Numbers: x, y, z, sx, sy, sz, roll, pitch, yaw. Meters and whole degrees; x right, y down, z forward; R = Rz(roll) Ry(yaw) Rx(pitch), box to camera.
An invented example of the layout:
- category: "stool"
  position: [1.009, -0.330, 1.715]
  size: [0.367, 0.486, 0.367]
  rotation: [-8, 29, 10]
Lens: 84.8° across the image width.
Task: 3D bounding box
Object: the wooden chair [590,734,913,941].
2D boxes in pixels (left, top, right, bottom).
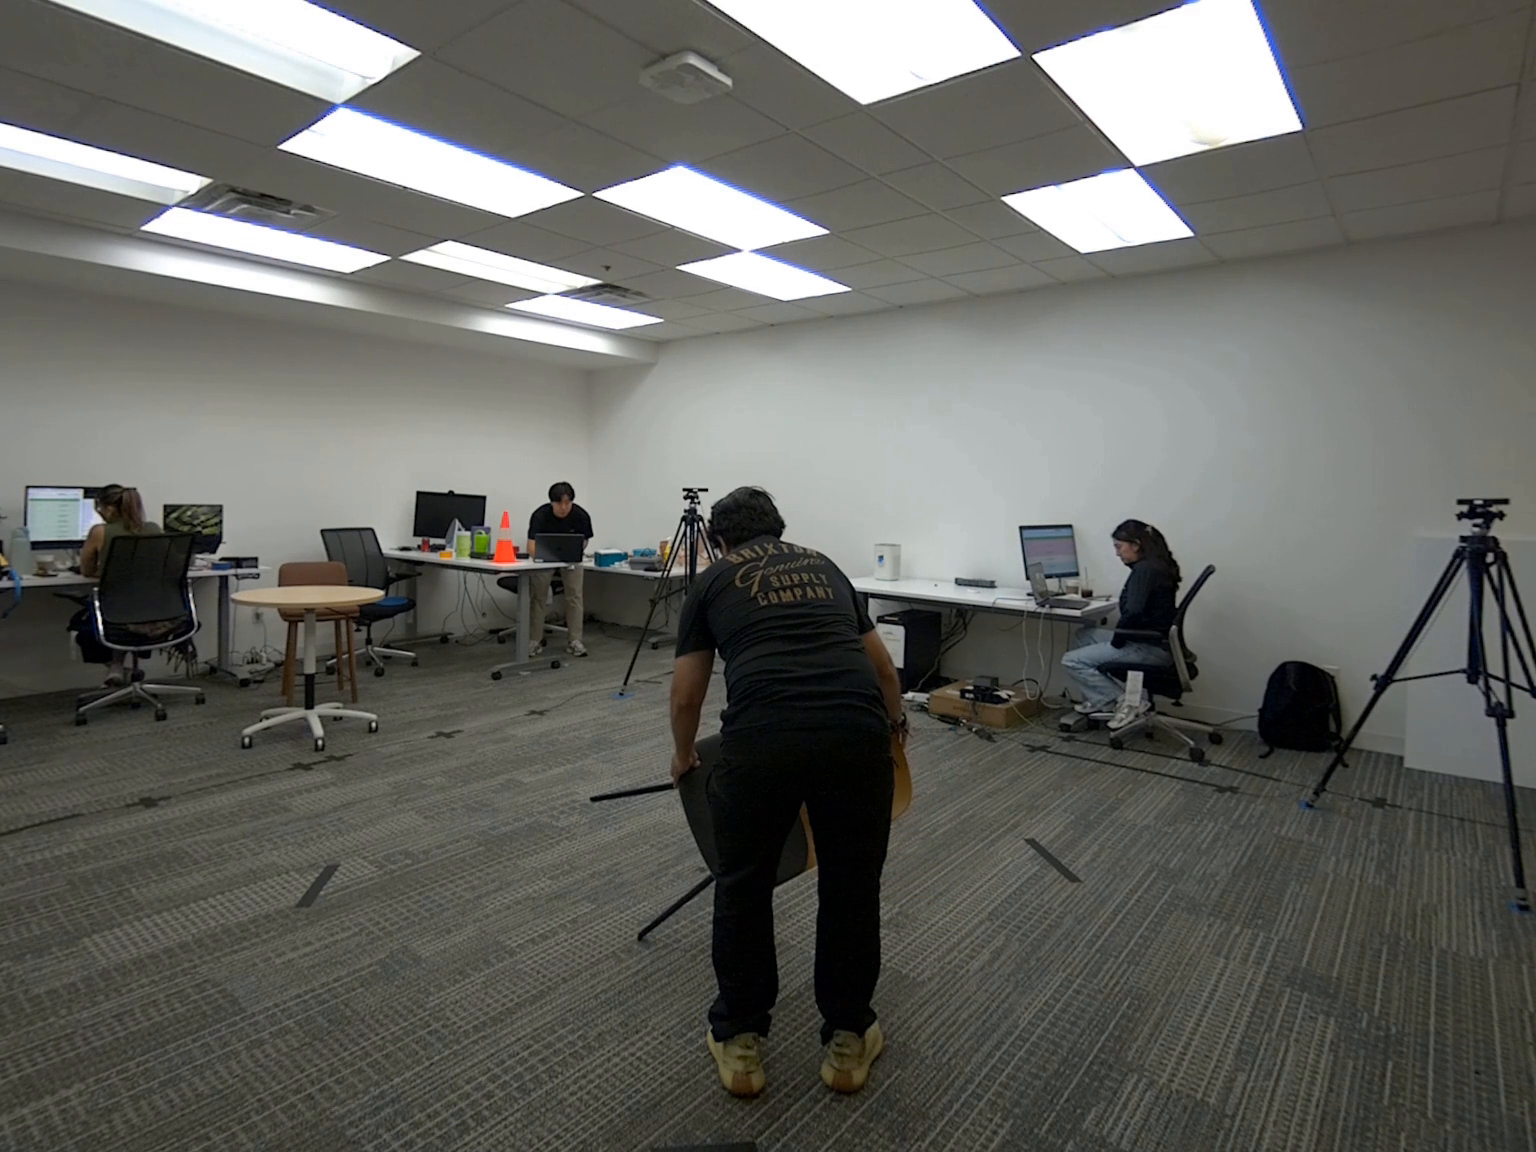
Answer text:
- category: "wooden chair"
  position: [-0.069, 0.704, 2.593]
  size: [0.885, 0.489, 0.507]
  rotation: [-33, -19, 31]
